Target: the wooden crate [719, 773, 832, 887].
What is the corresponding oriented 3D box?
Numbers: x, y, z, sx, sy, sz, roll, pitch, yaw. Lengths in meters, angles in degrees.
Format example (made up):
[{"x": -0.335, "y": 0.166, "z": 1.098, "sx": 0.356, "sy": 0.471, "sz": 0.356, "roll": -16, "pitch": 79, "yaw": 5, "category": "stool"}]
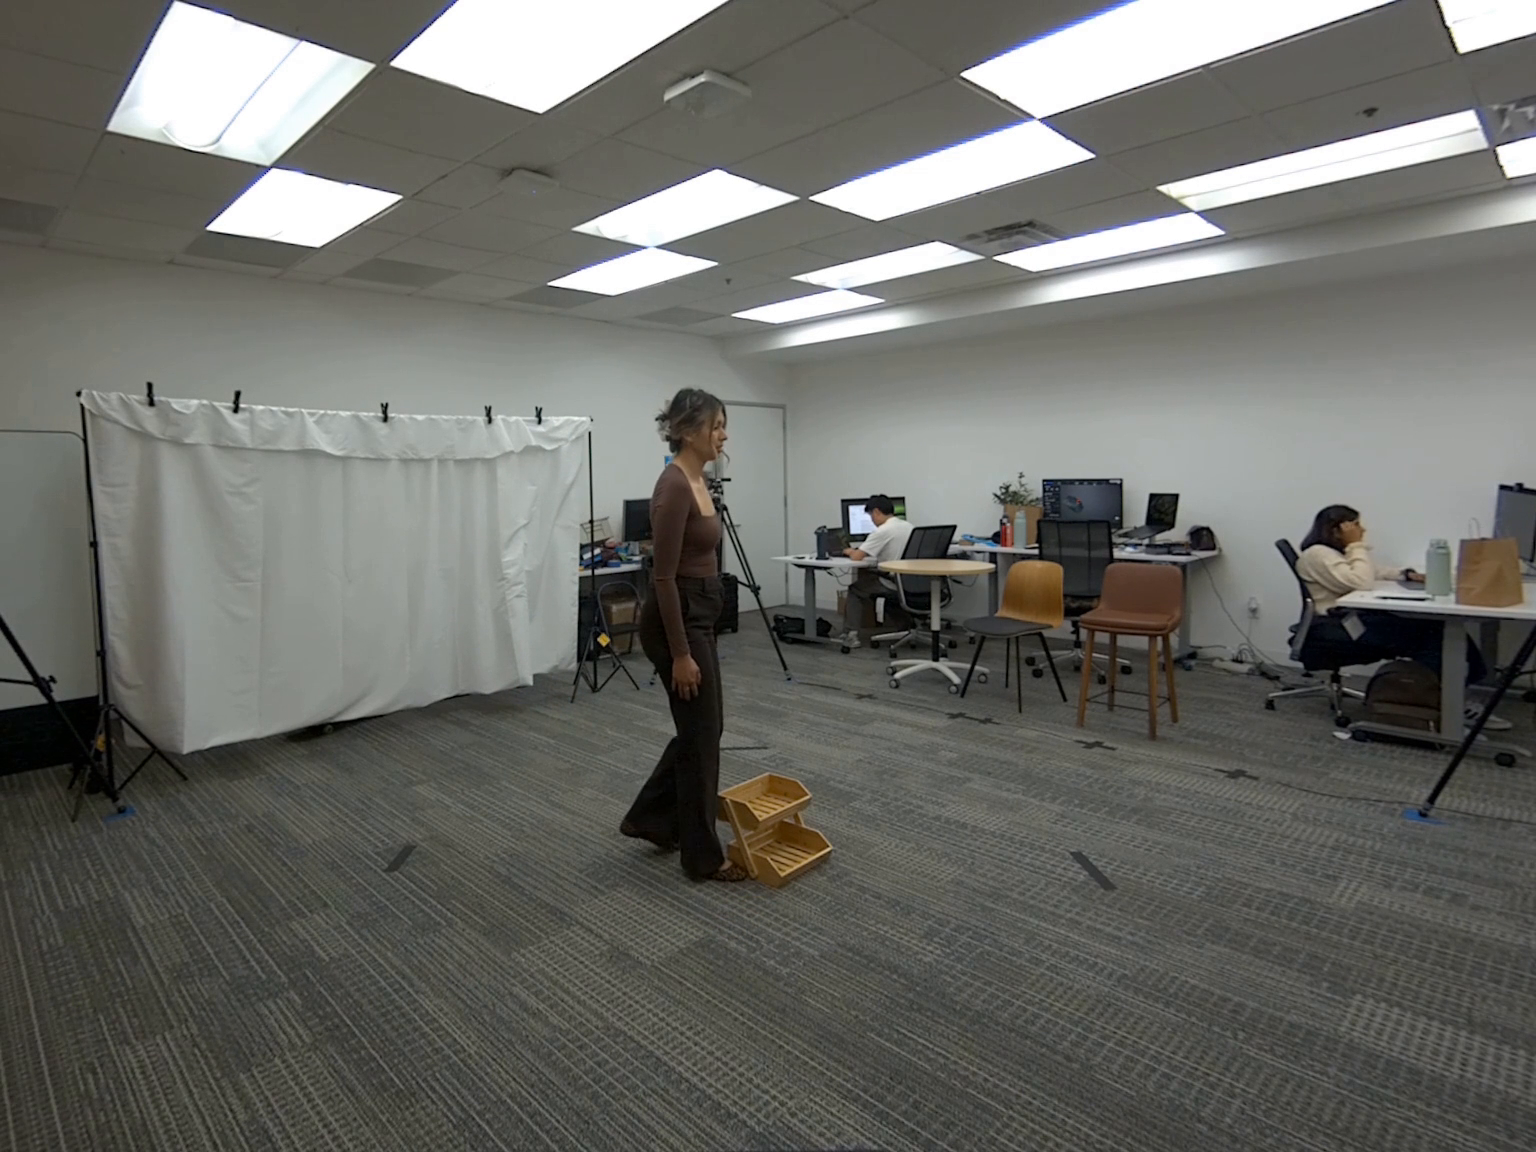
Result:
[{"x": 0.028, "y": 0.907, "z": 3.098, "sx": 0.311, "sy": 0.272, "sz": 0.316, "roll": 3, "pitch": 7, "yaw": 41, "category": "wooden crate"}]
